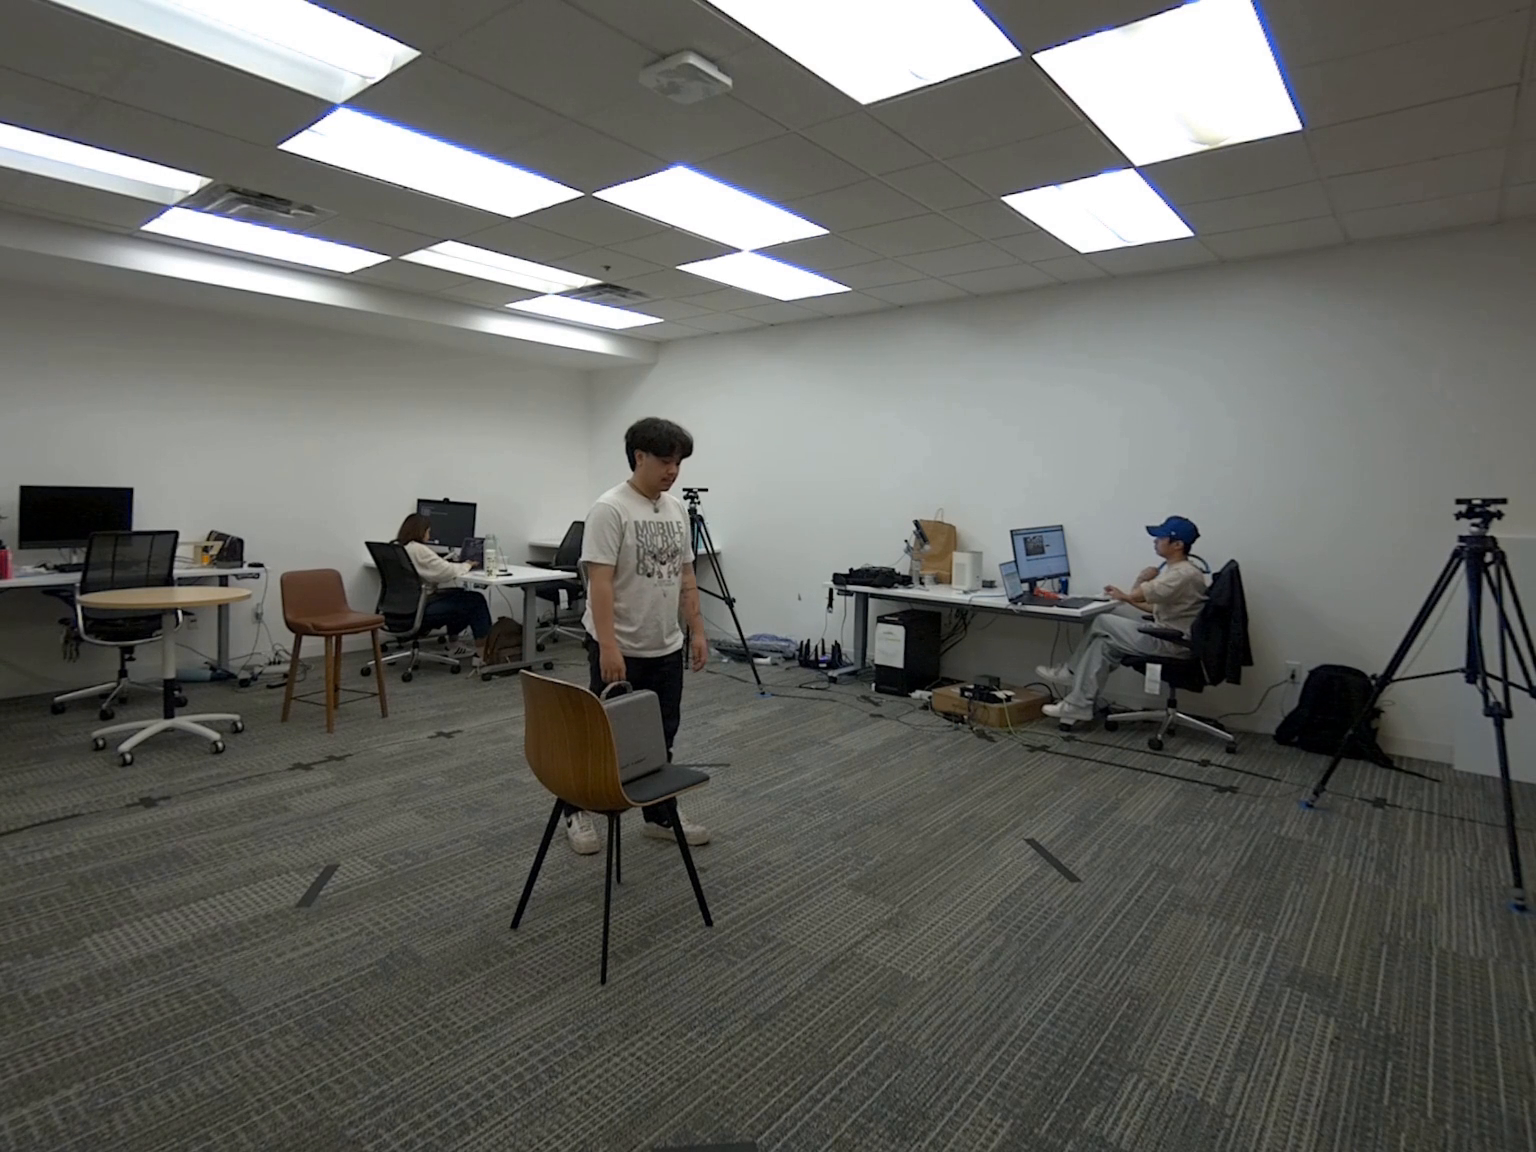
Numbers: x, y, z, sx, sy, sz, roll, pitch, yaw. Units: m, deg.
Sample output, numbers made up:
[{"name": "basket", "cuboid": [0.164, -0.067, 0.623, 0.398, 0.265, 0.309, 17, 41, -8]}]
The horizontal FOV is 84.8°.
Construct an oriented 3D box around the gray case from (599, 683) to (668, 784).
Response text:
[{"name": "gray case", "cuboid": [-0.461, 0.501, 2.687, 0.107, 0.261, 0.250, -8, 1, 43]}]
